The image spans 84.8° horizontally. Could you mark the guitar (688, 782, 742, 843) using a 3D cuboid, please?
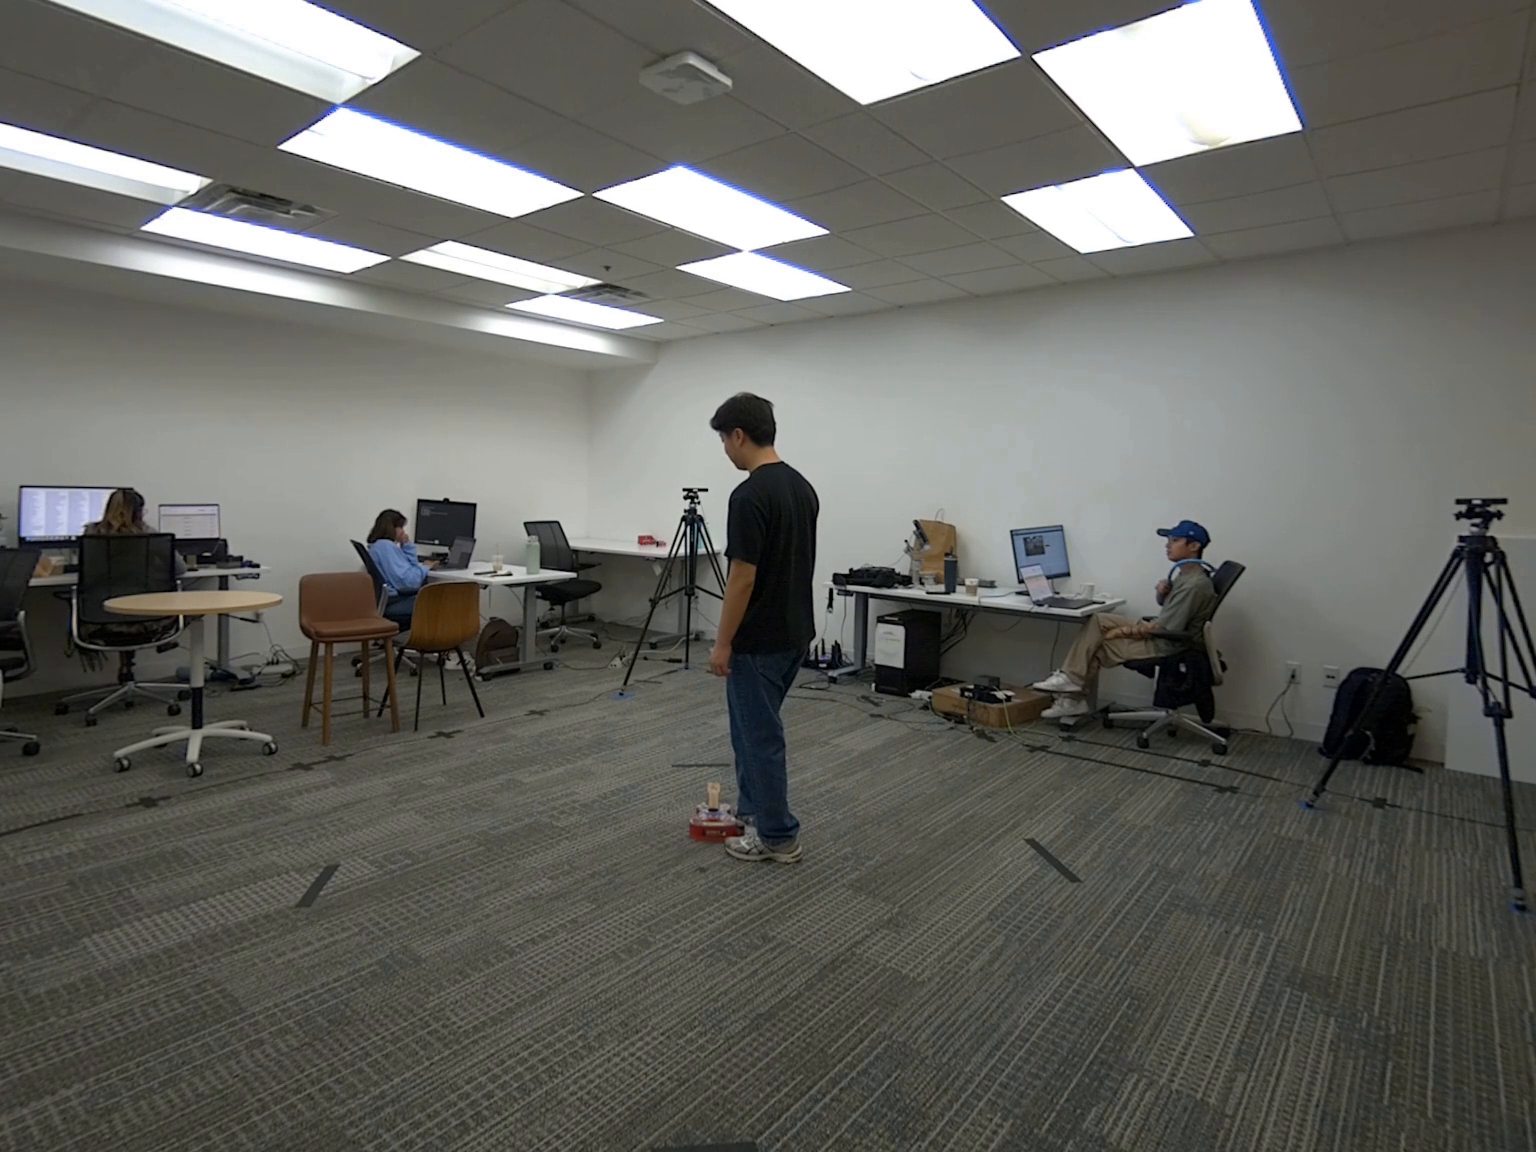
[{"bbox_3d":[-0.217,0.984,3.603,0.194,0.070,0.496,1,6,5],"label":"guitar"}]
